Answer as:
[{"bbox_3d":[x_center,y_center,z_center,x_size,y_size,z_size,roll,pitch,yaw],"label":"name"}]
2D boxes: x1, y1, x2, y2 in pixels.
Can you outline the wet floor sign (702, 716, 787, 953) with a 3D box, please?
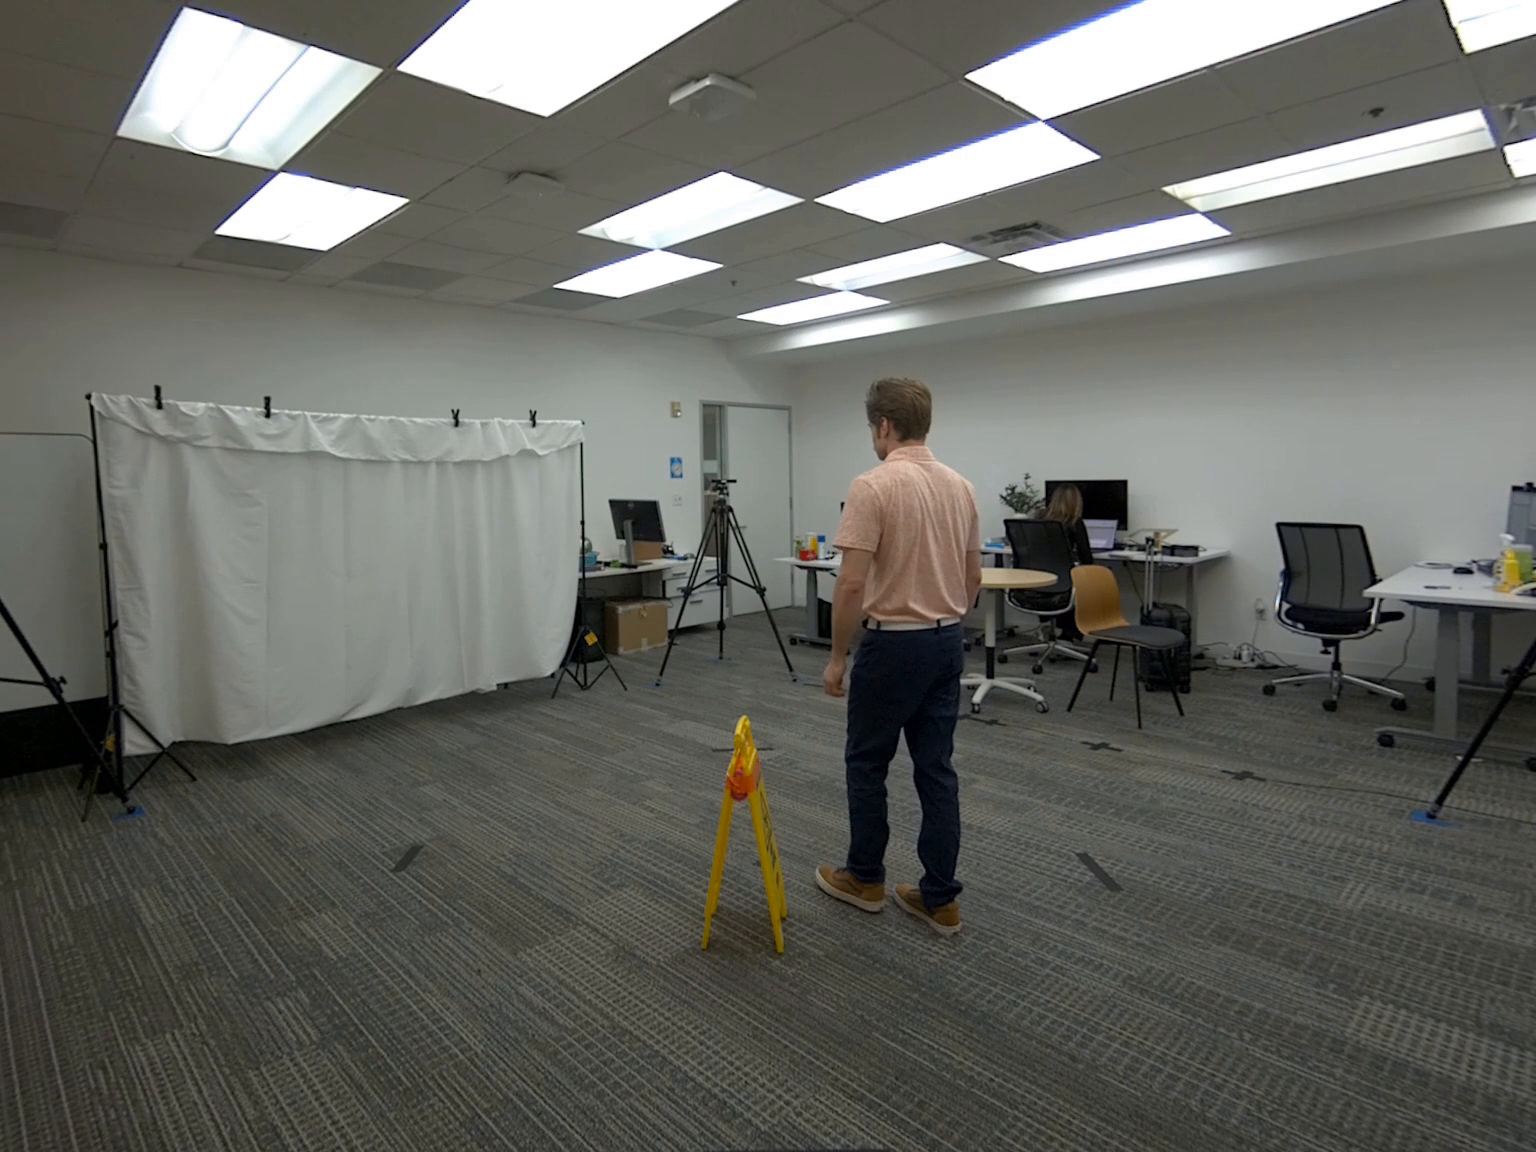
[{"bbox_3d":[-0.074,0.775,2.639,0.291,0.645,0.281,-2,2,6],"label":"wet floor sign"}]
